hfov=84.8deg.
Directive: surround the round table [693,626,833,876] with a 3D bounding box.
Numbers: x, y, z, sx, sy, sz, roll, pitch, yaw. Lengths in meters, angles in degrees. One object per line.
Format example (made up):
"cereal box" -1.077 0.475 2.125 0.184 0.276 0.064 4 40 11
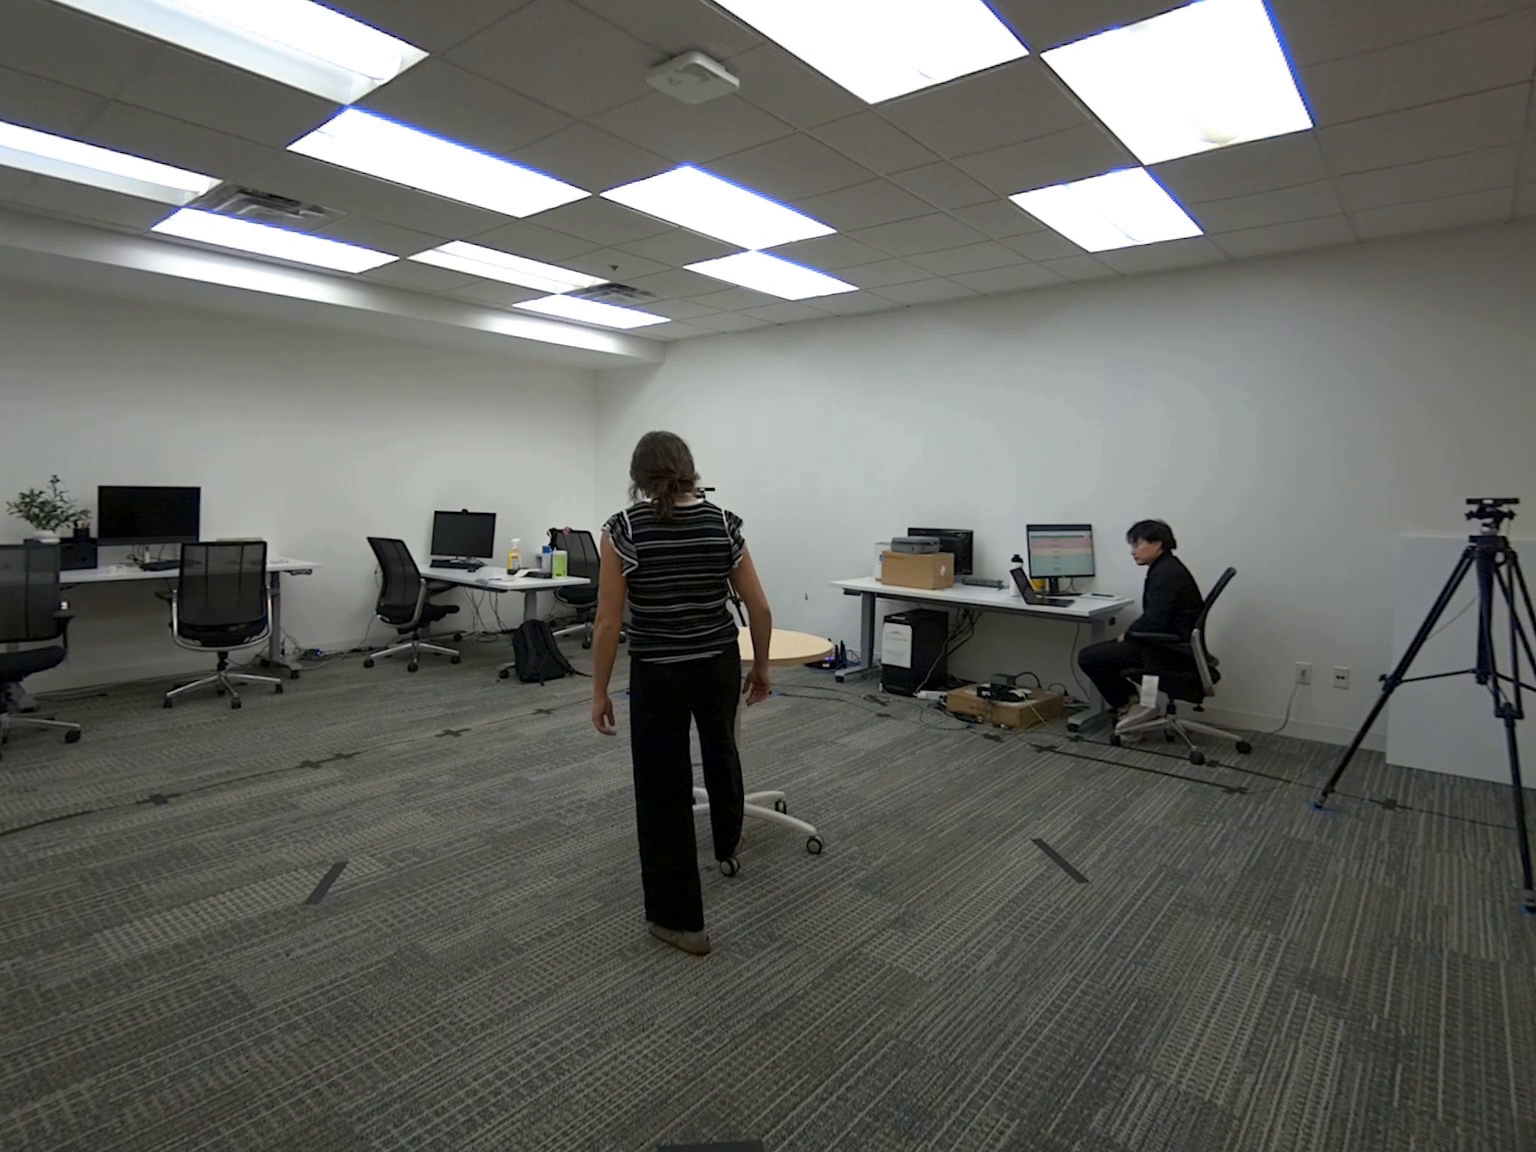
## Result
"round table" -0.148 0.645 3.376 0.784 0.785 0.788 1 3 -2
